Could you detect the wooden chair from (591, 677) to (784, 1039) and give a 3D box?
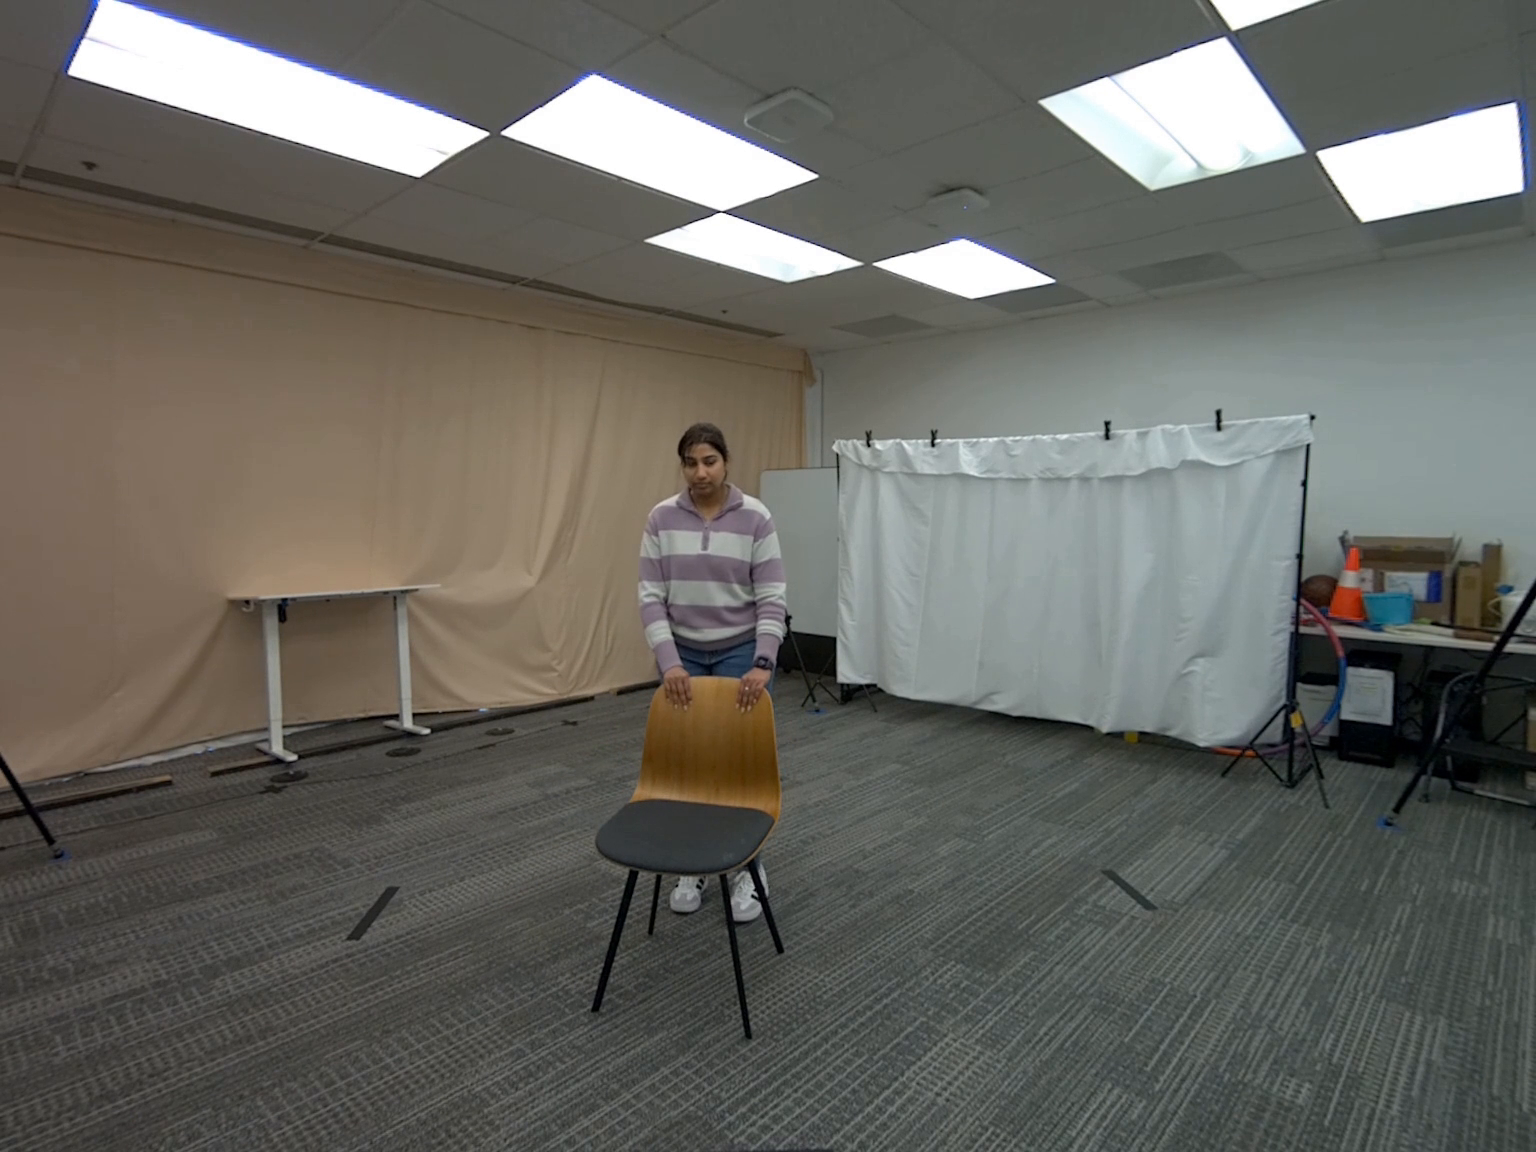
[{"bbox_3d":[-0.208,0.754,2.438,0.486,0.878,0.514,1,-1,14],"label":"wooden chair"}]
